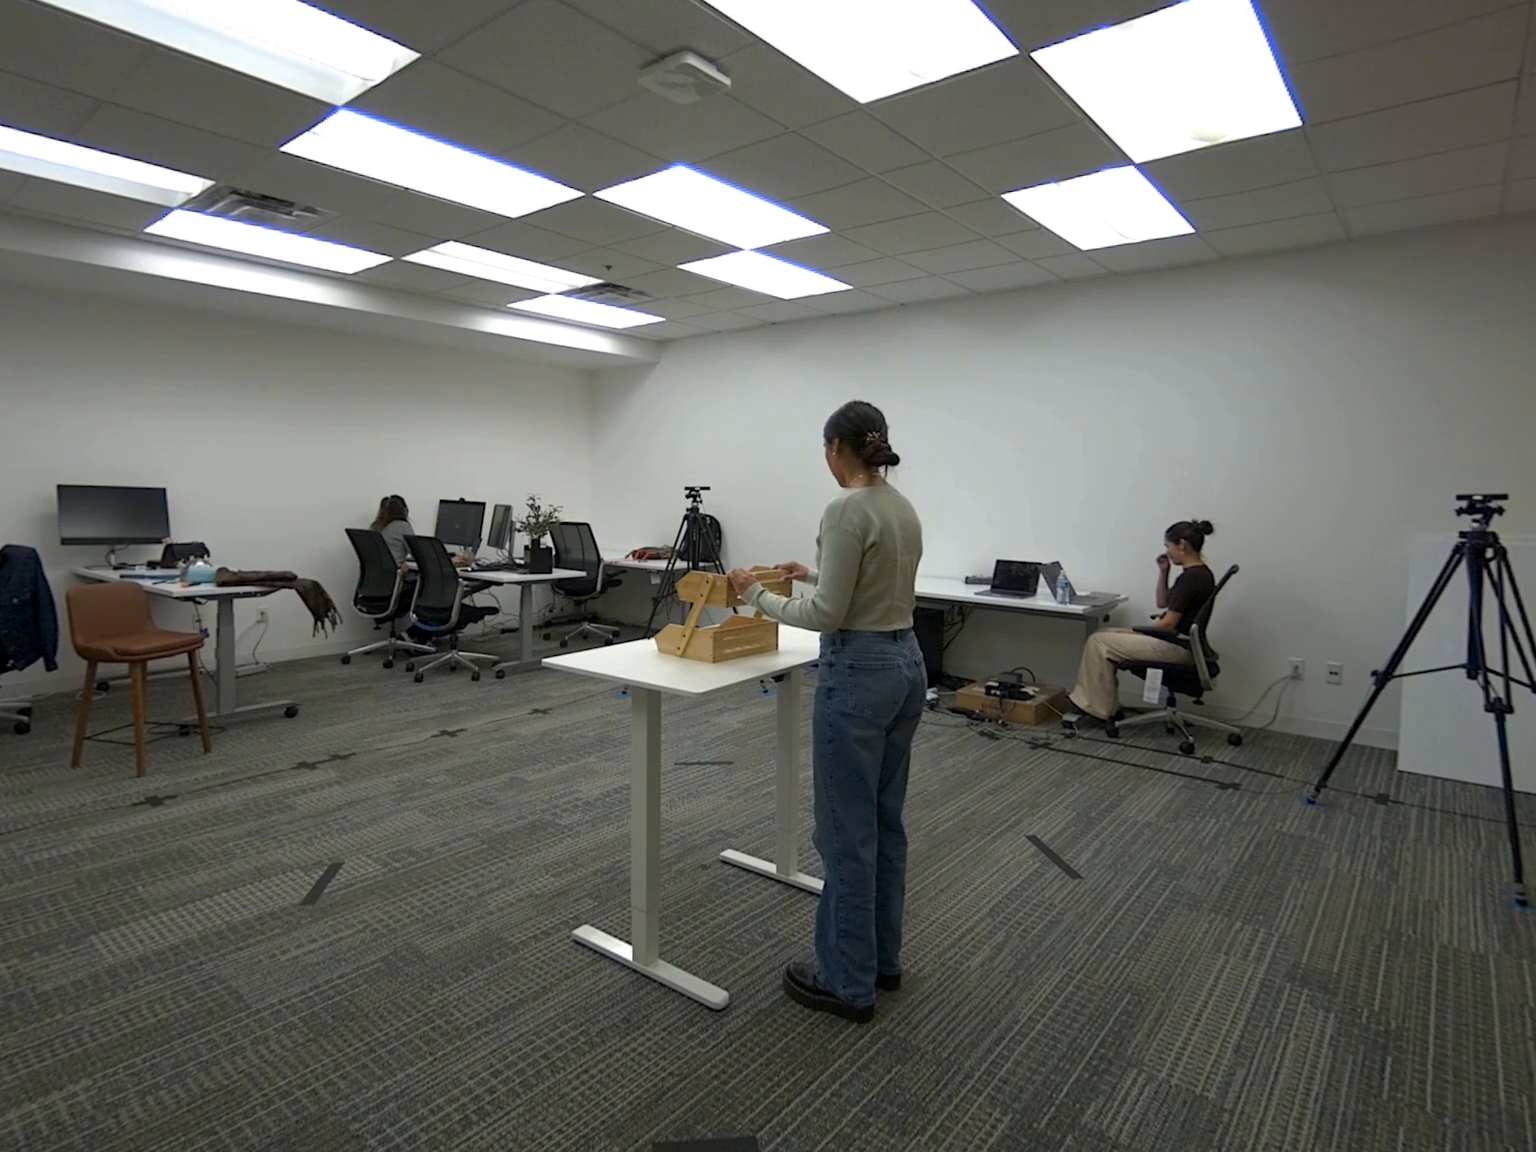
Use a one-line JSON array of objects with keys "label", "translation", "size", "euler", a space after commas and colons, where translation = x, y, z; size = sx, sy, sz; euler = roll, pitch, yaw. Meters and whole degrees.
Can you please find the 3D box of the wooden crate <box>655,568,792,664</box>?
[{"label": "wooden crate", "translation": [-0.148, 0.101, 2.625], "size": [0.312, 0.272, 0.315], "euler": [6, 7, 42]}]
